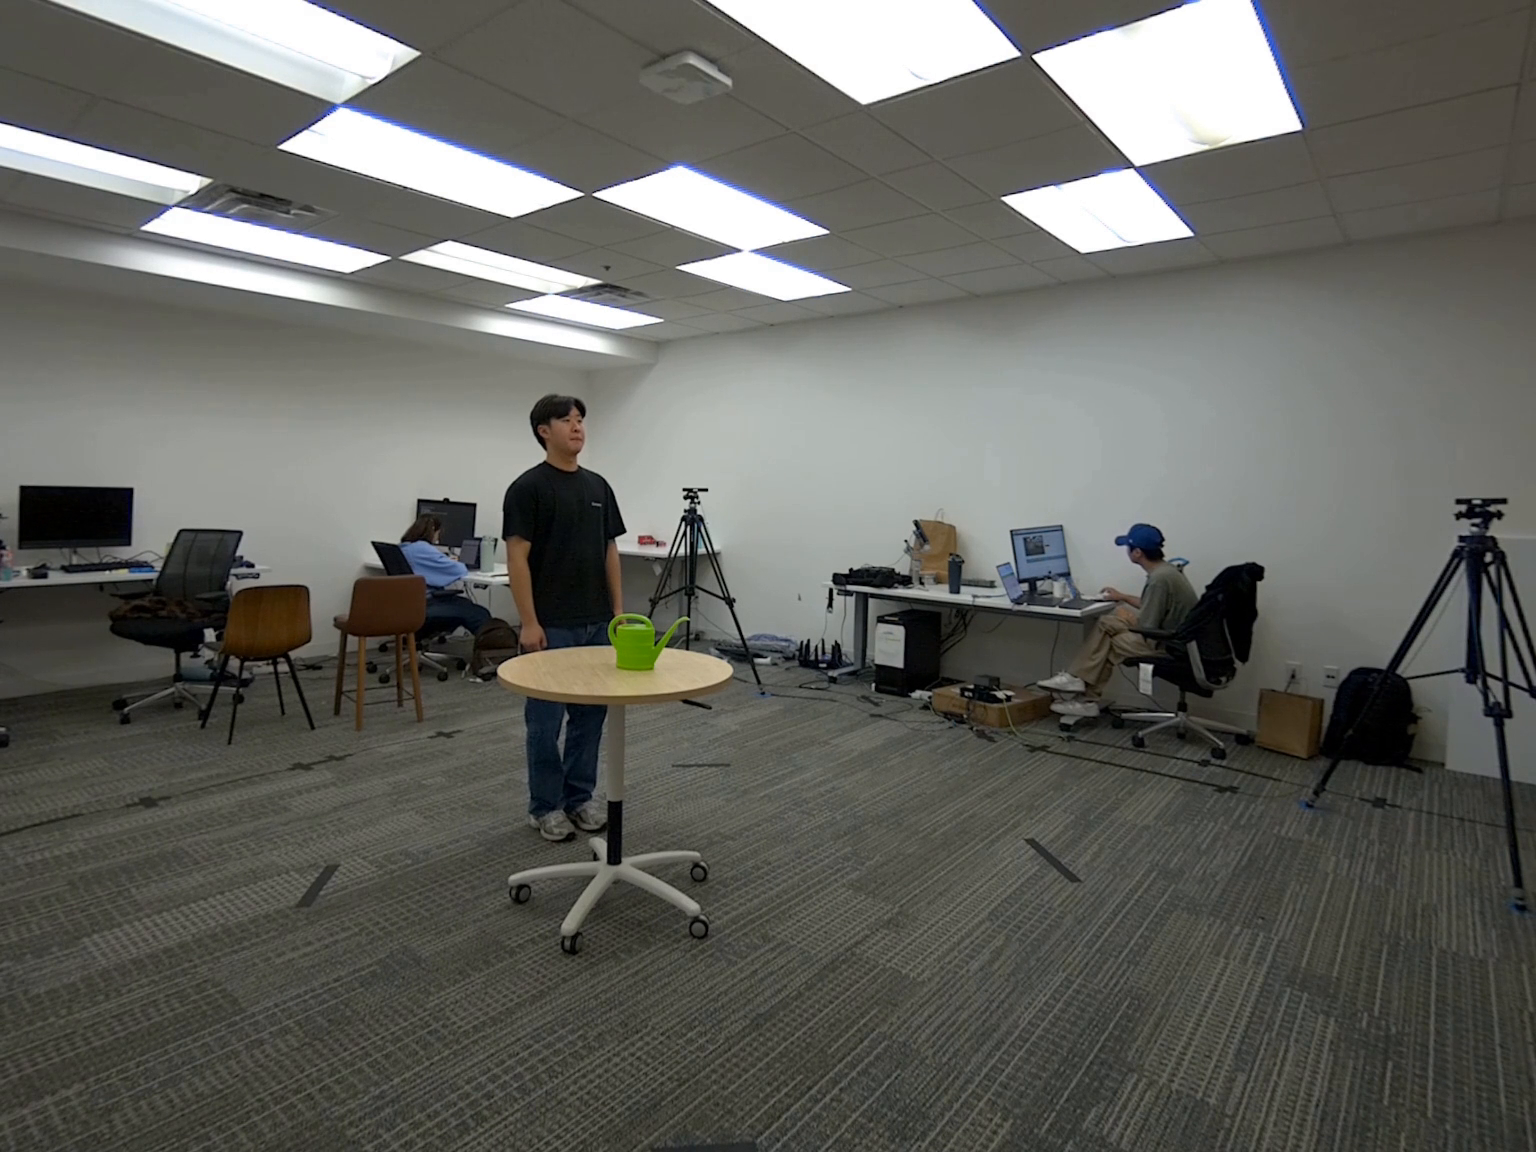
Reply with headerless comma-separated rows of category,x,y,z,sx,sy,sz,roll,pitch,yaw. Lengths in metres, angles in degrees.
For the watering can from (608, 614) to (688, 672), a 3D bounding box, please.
watering can,-0.412,0.213,2.782,0.286,0.176,0.096,2,4,28
